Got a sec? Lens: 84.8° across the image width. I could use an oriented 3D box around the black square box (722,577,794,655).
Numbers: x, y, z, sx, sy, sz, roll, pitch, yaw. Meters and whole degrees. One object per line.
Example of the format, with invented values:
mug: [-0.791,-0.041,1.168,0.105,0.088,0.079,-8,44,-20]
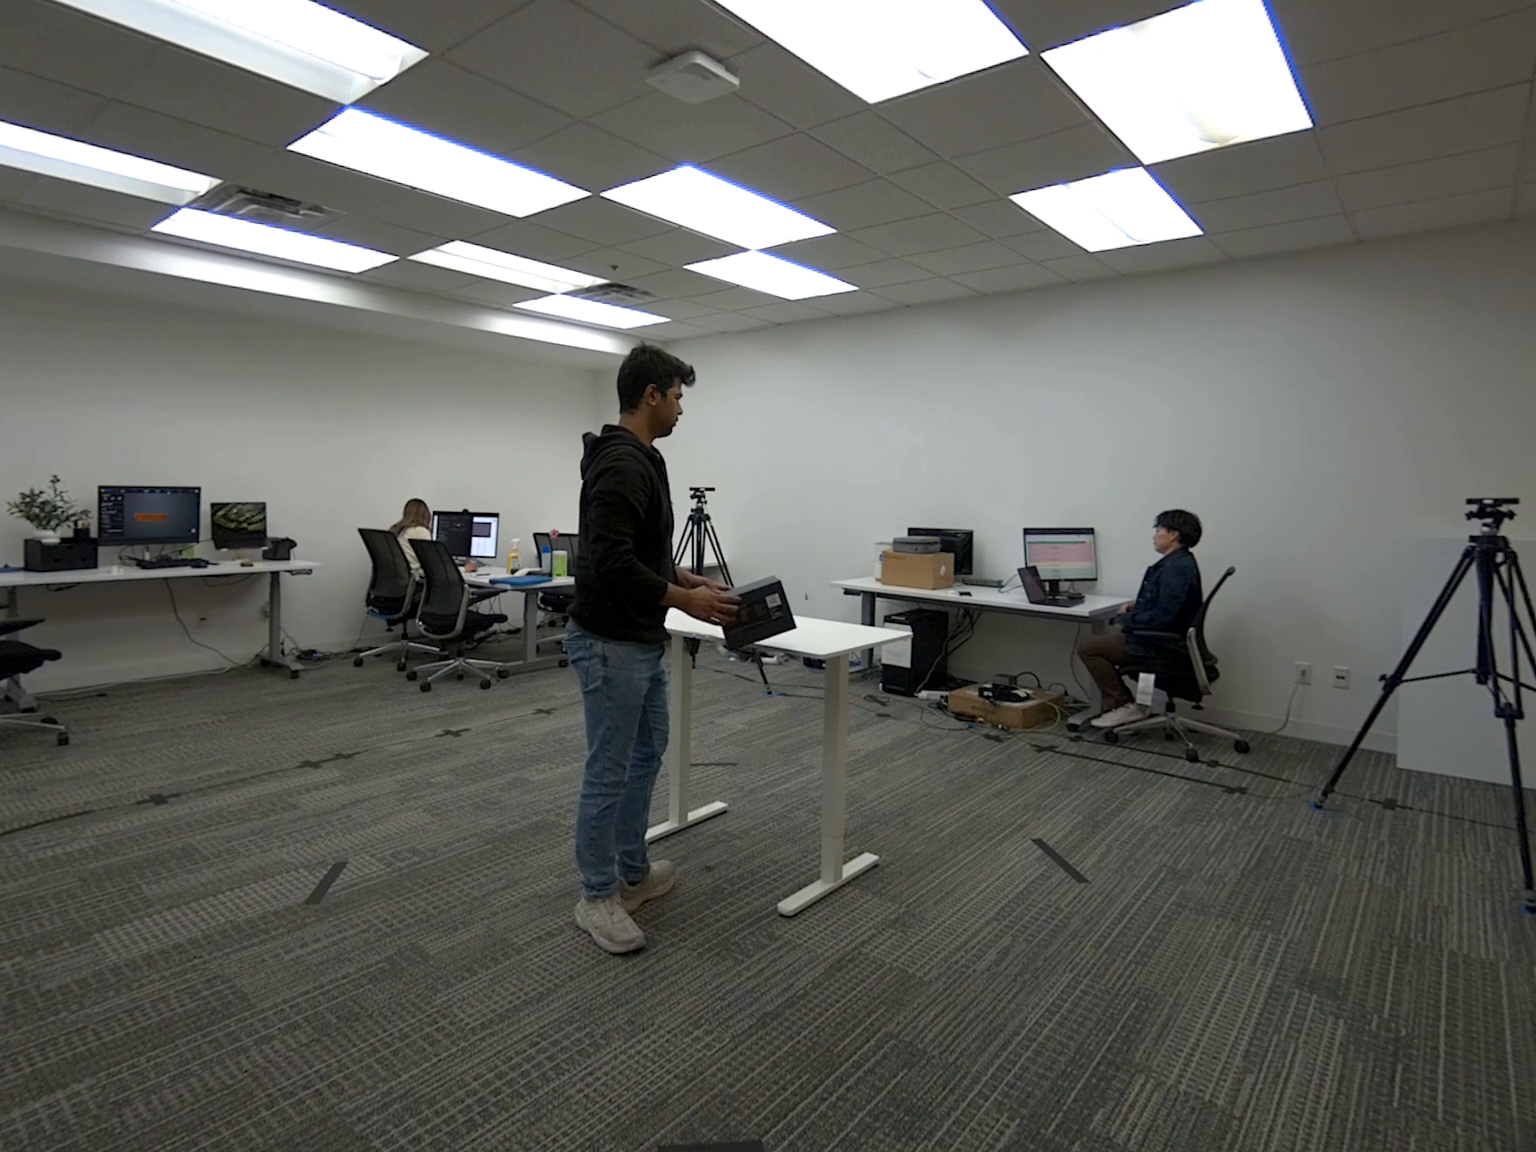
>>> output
black square box: [-0.072,0.111,2.662,0.217,0.156,0.227,-14,1,2]
